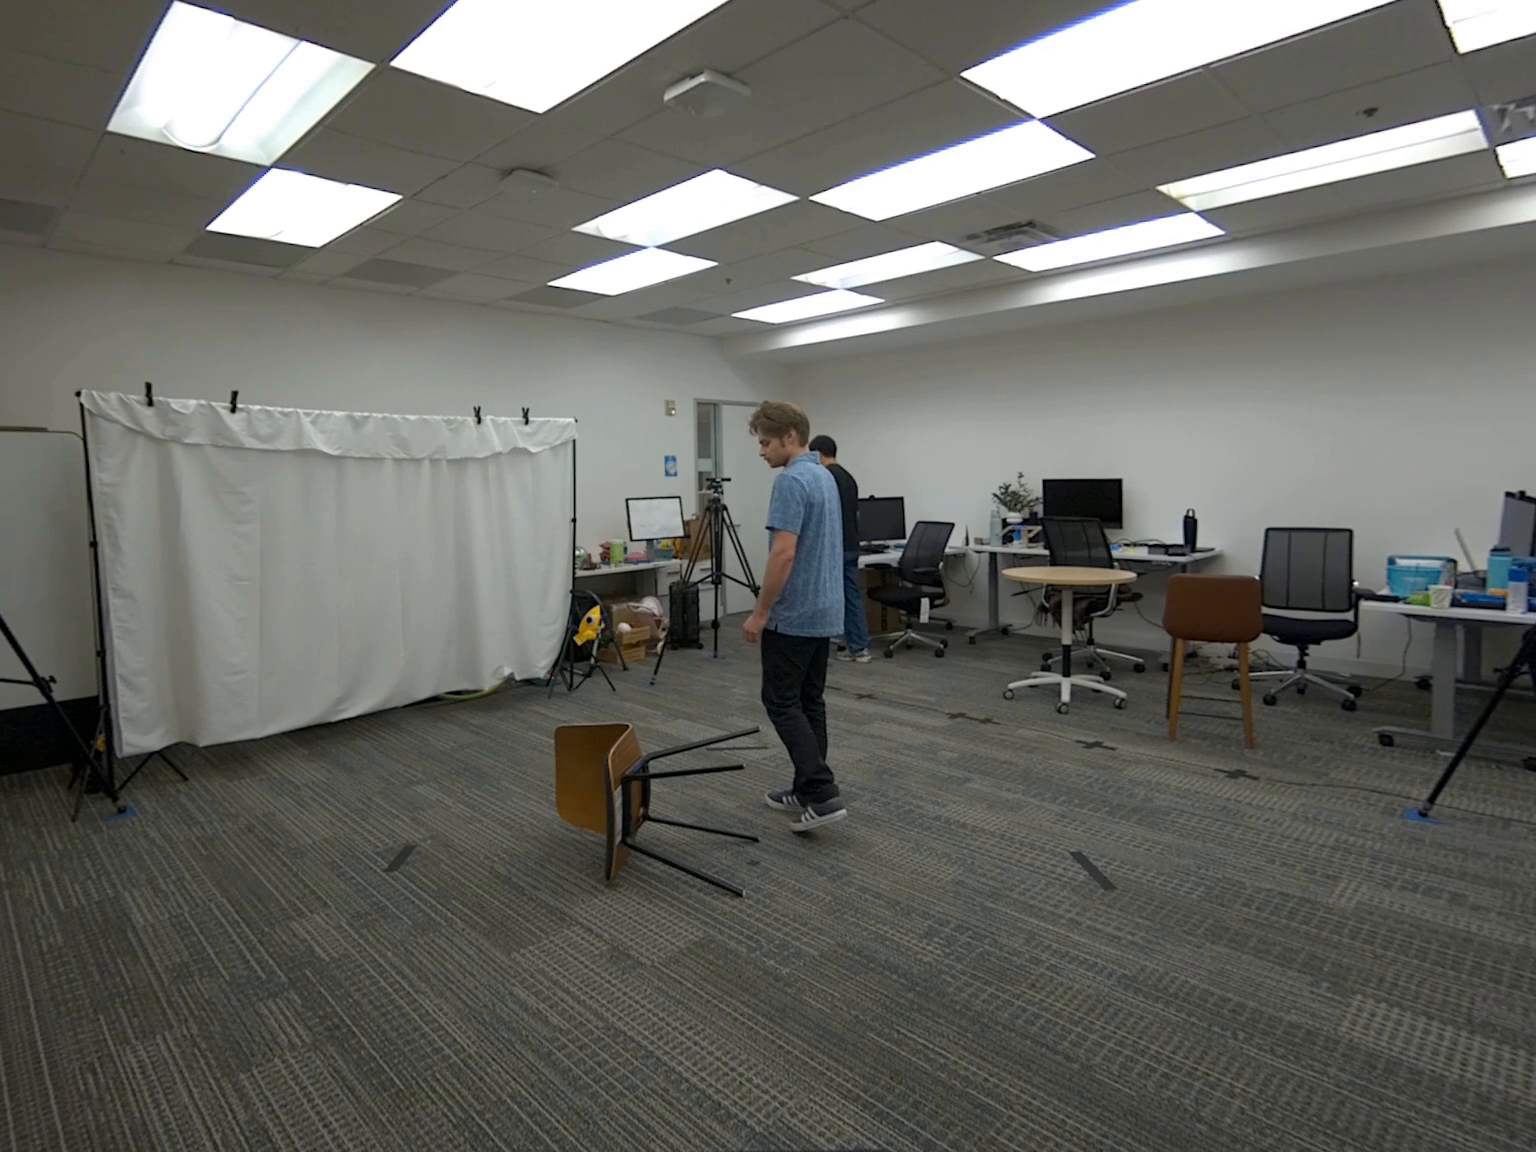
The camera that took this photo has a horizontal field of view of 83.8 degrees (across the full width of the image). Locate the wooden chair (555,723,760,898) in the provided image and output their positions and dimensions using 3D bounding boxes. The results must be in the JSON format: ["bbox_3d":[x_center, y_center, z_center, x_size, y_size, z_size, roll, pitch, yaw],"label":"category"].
[{"bbox_3d":[-0.482,0.818,3.114,0.889,0.476,0.519,1,6,13],"label":"wooden chair"}]
